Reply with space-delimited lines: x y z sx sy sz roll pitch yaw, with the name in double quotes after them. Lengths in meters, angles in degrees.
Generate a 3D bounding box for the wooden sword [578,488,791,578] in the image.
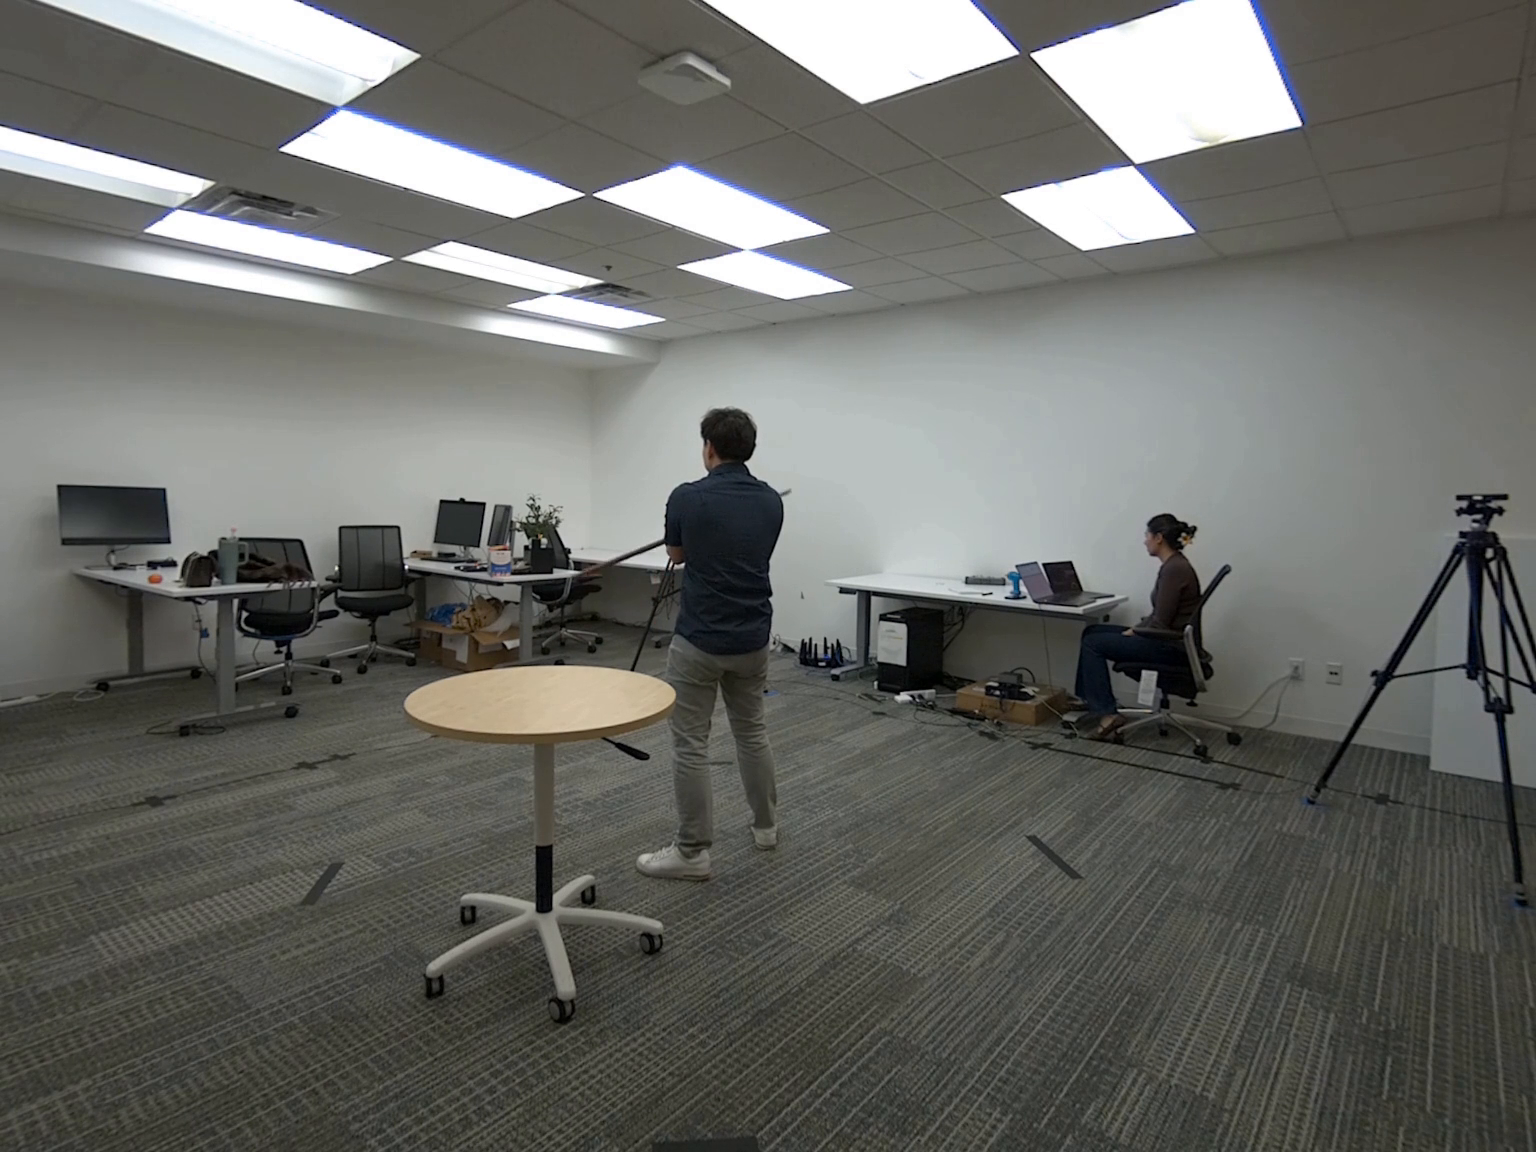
-0.356 -0.175 3.578 1.015 0.023 0.053 -22 44 -16 "wooden sword"
